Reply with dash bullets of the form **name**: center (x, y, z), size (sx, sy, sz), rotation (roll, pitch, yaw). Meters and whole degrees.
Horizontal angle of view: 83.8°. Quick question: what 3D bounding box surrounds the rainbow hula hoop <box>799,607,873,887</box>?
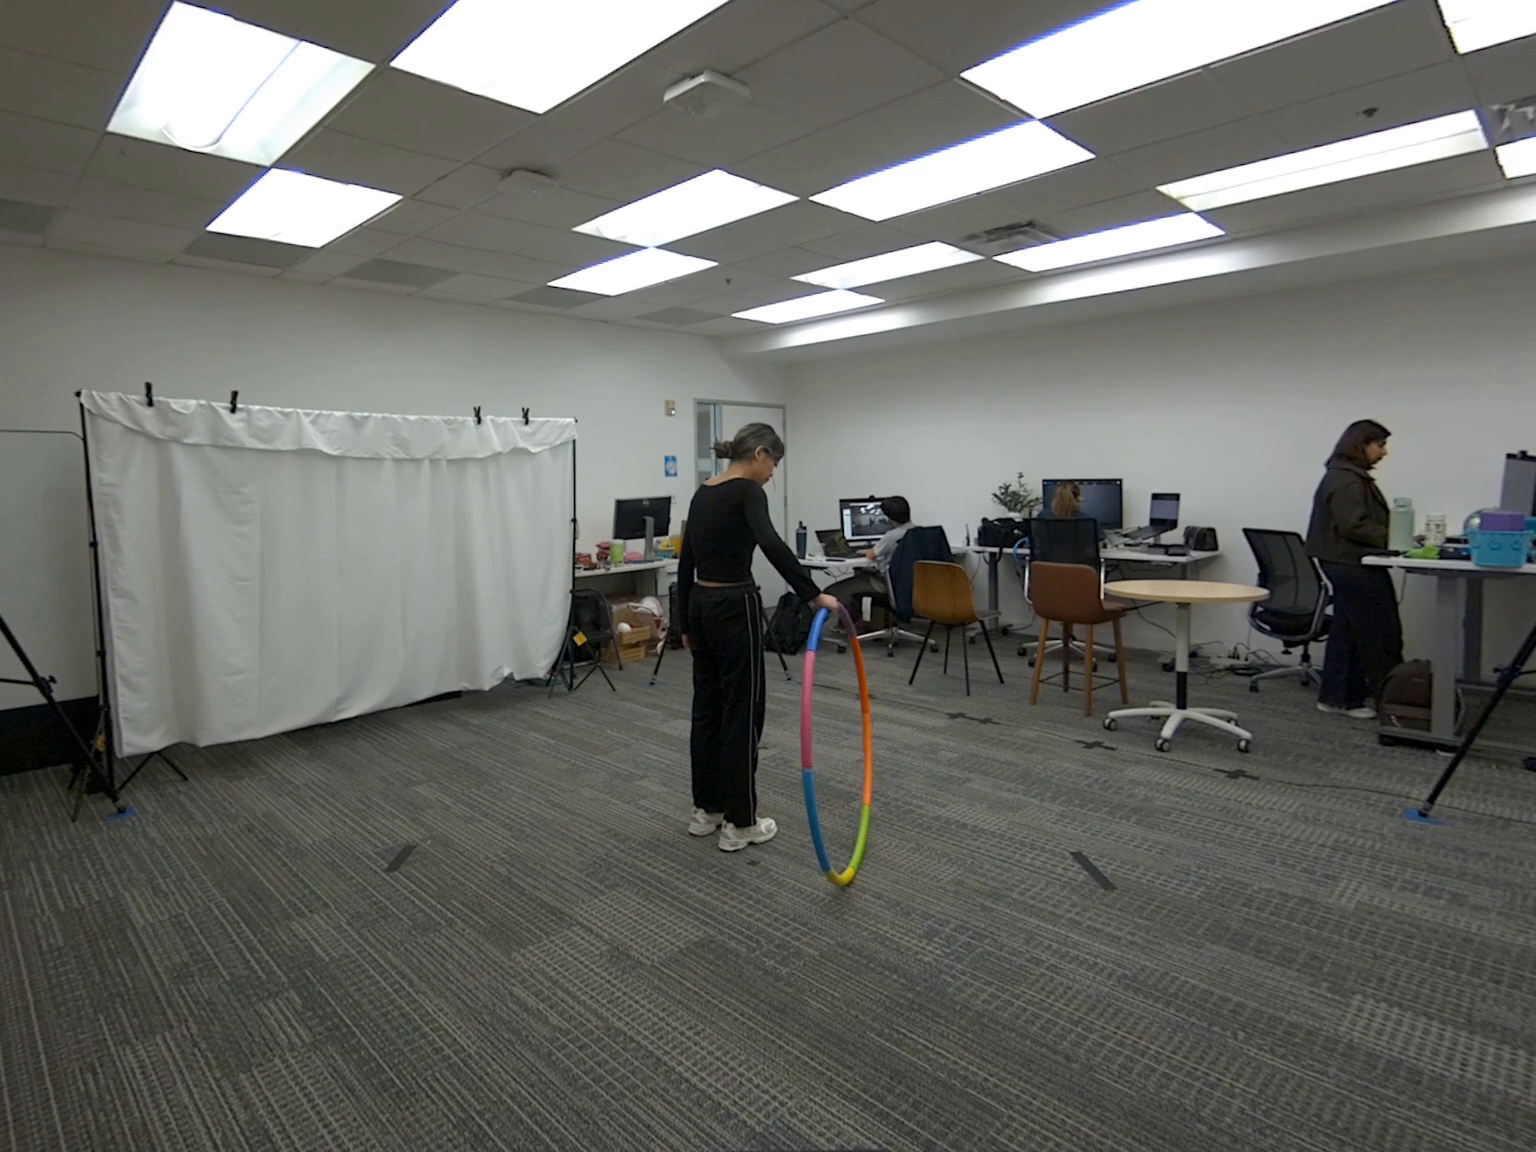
- **rainbow hula hoop**: center (0.252, 0.567, 3.012), size (0.036, 0.976, 0.966), rotation (-6, 3, 17)
